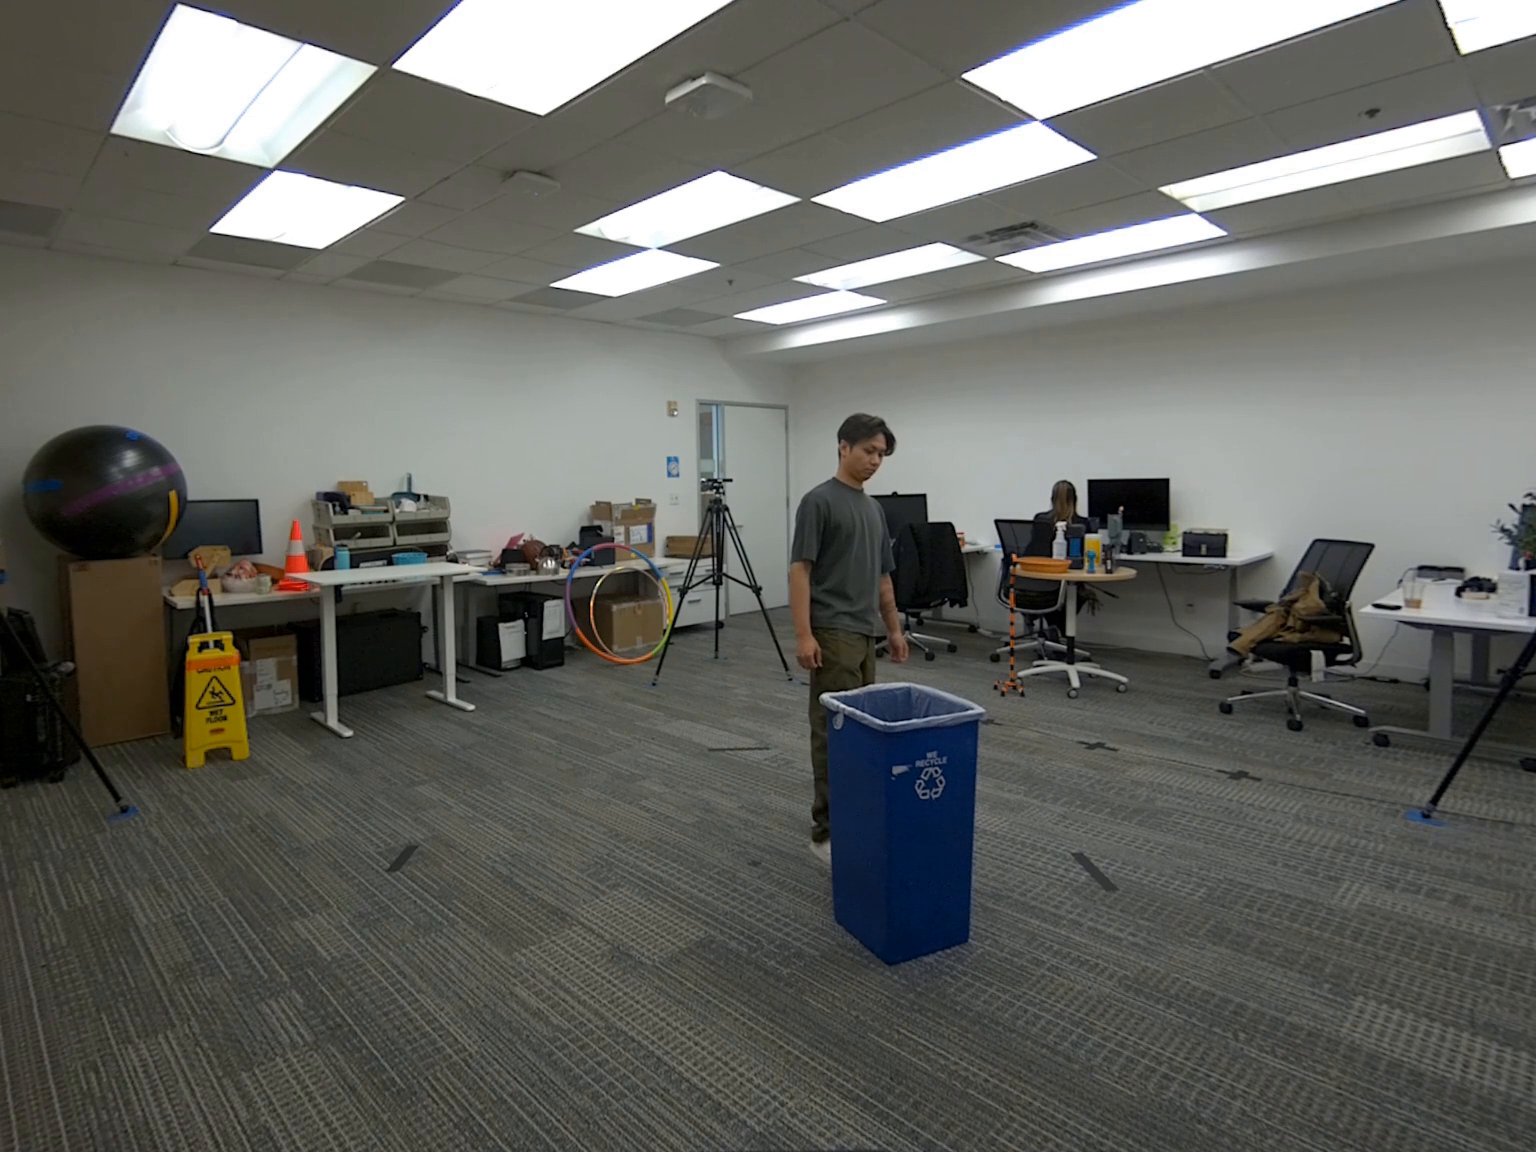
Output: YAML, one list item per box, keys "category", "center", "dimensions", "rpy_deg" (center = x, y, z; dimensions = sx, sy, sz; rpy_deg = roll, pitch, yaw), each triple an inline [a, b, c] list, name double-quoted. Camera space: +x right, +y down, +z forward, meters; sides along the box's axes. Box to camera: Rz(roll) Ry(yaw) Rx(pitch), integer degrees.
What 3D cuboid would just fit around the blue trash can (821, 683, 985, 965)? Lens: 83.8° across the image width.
- category: "blue trash can"
  center: [0.400, 0.737, 2.616]
  dimensions: [0.369, 0.710, 0.384]
  rpy_deg: [-3, 6, -29]
